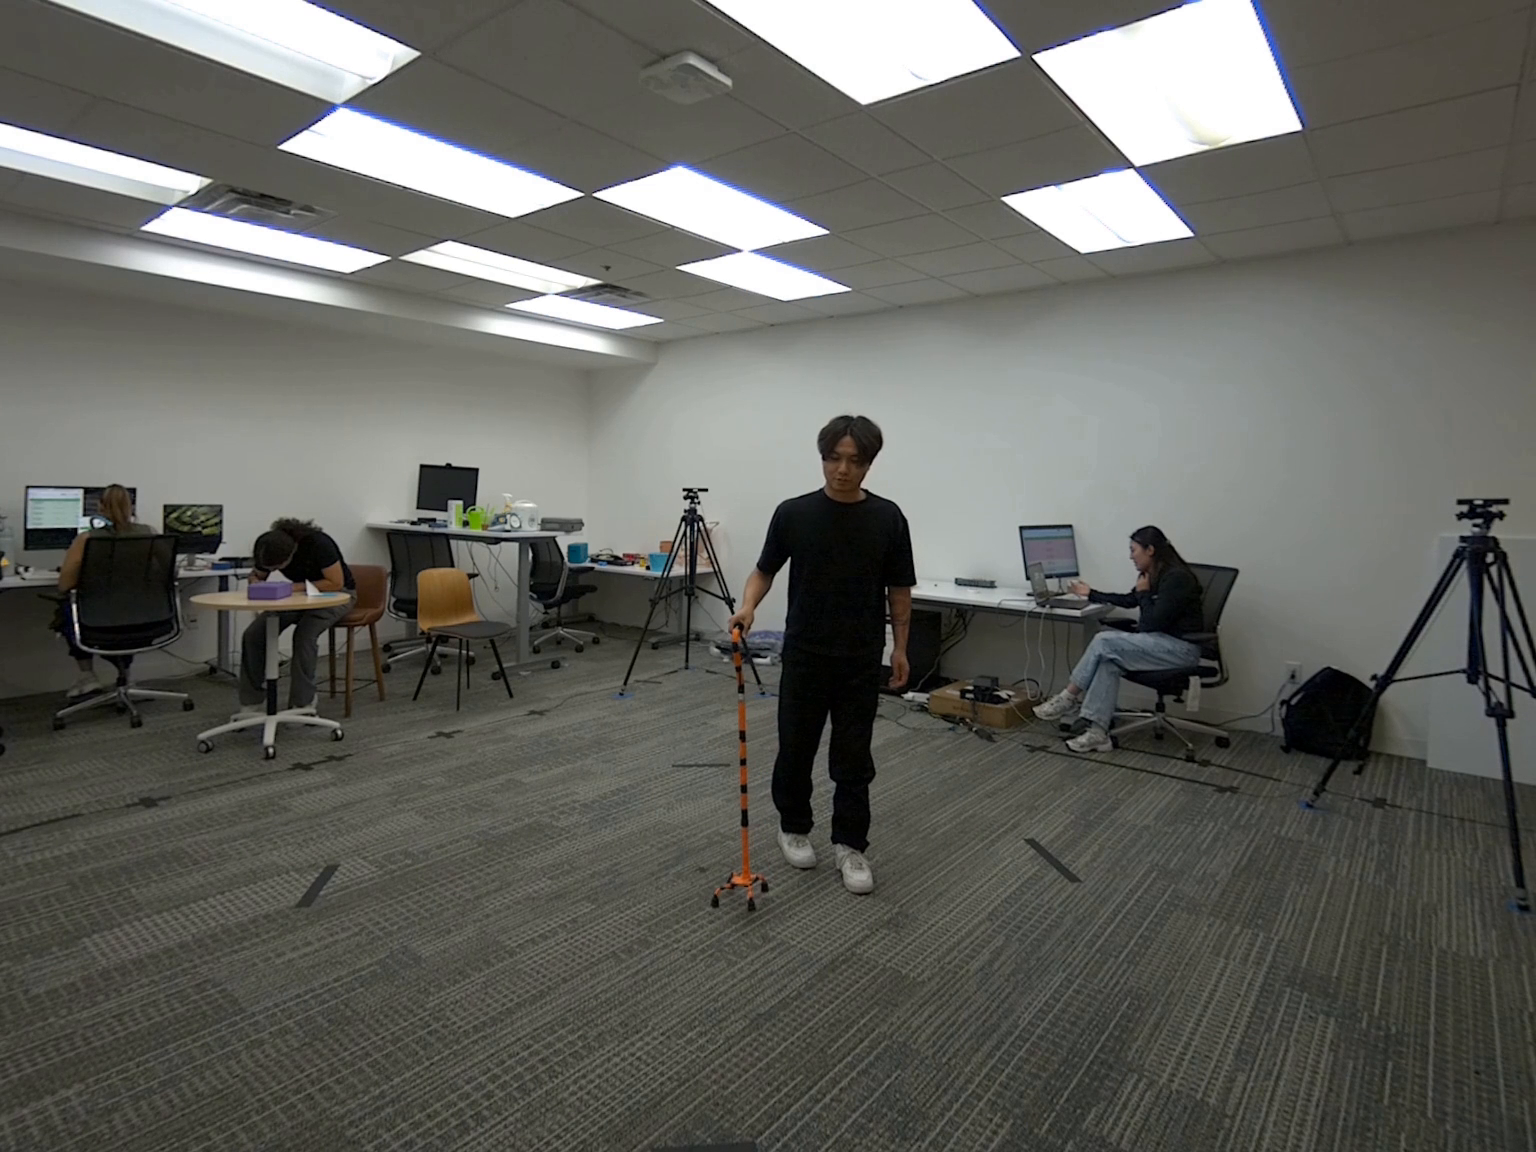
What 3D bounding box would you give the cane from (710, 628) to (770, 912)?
[{"bbox_3d":[-0.109,0.625,2.856,0.154,0.910,0.203,-2,-3,12],"label":"cane"}]
